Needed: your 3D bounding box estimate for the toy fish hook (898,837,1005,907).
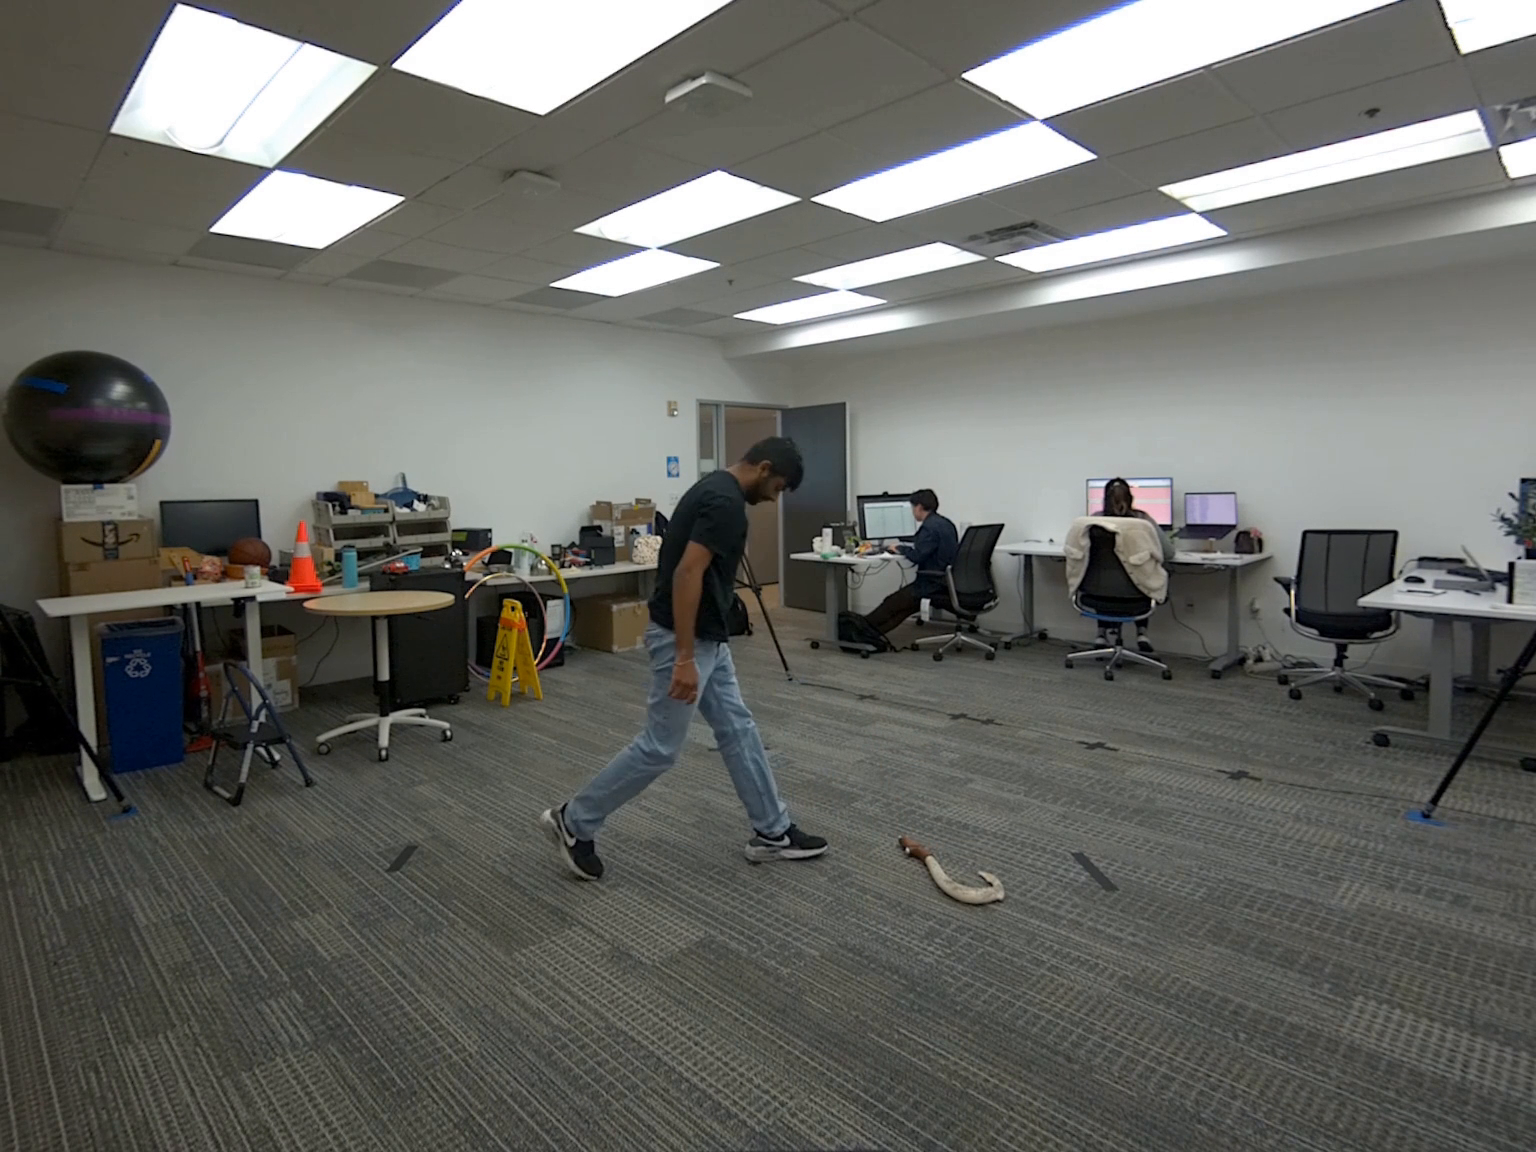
[{"bbox_3d":[0.636,1.020,3.015,0.220,0.048,0.517,5,5,-20],"label":"toy fish hook"}]
